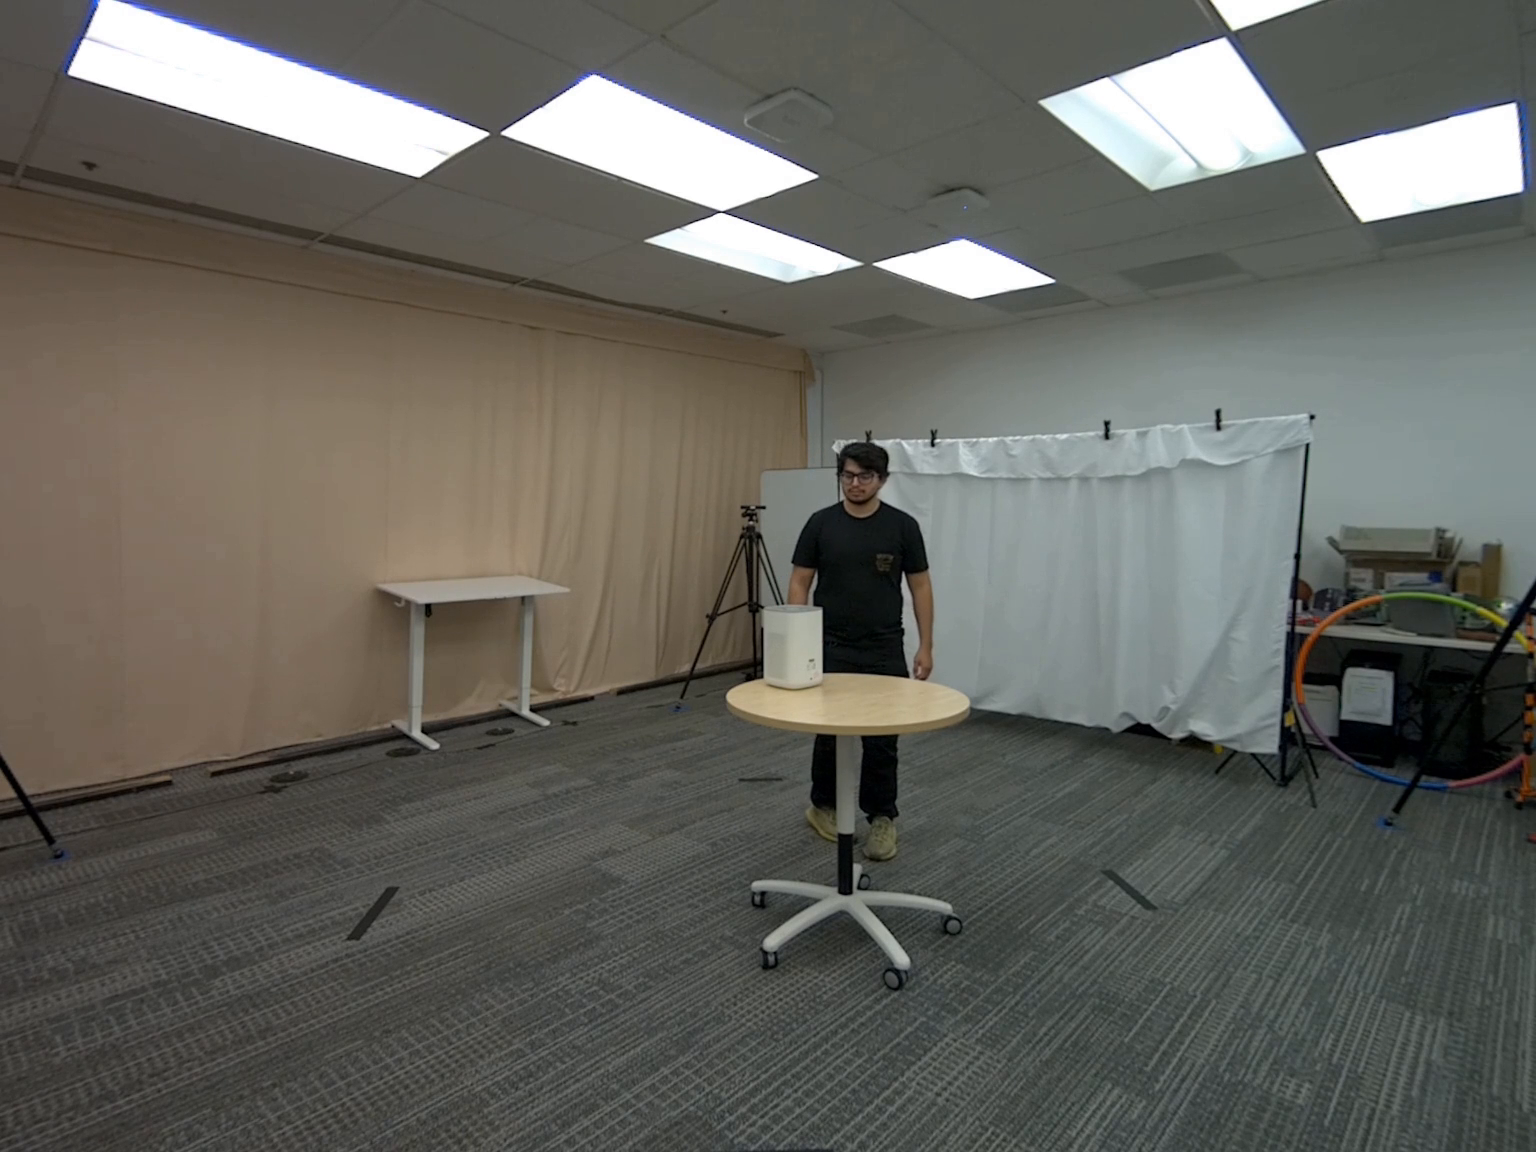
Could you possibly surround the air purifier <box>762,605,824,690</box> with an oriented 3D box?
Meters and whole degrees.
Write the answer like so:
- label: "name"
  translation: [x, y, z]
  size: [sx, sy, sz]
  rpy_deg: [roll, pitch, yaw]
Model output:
- label: "air purifier"
  translation: [0.086, 0.239, 2.864]
  size: [0.166, 0.265, 0.177]
  rpy_deg: [-3, 3, -41]
